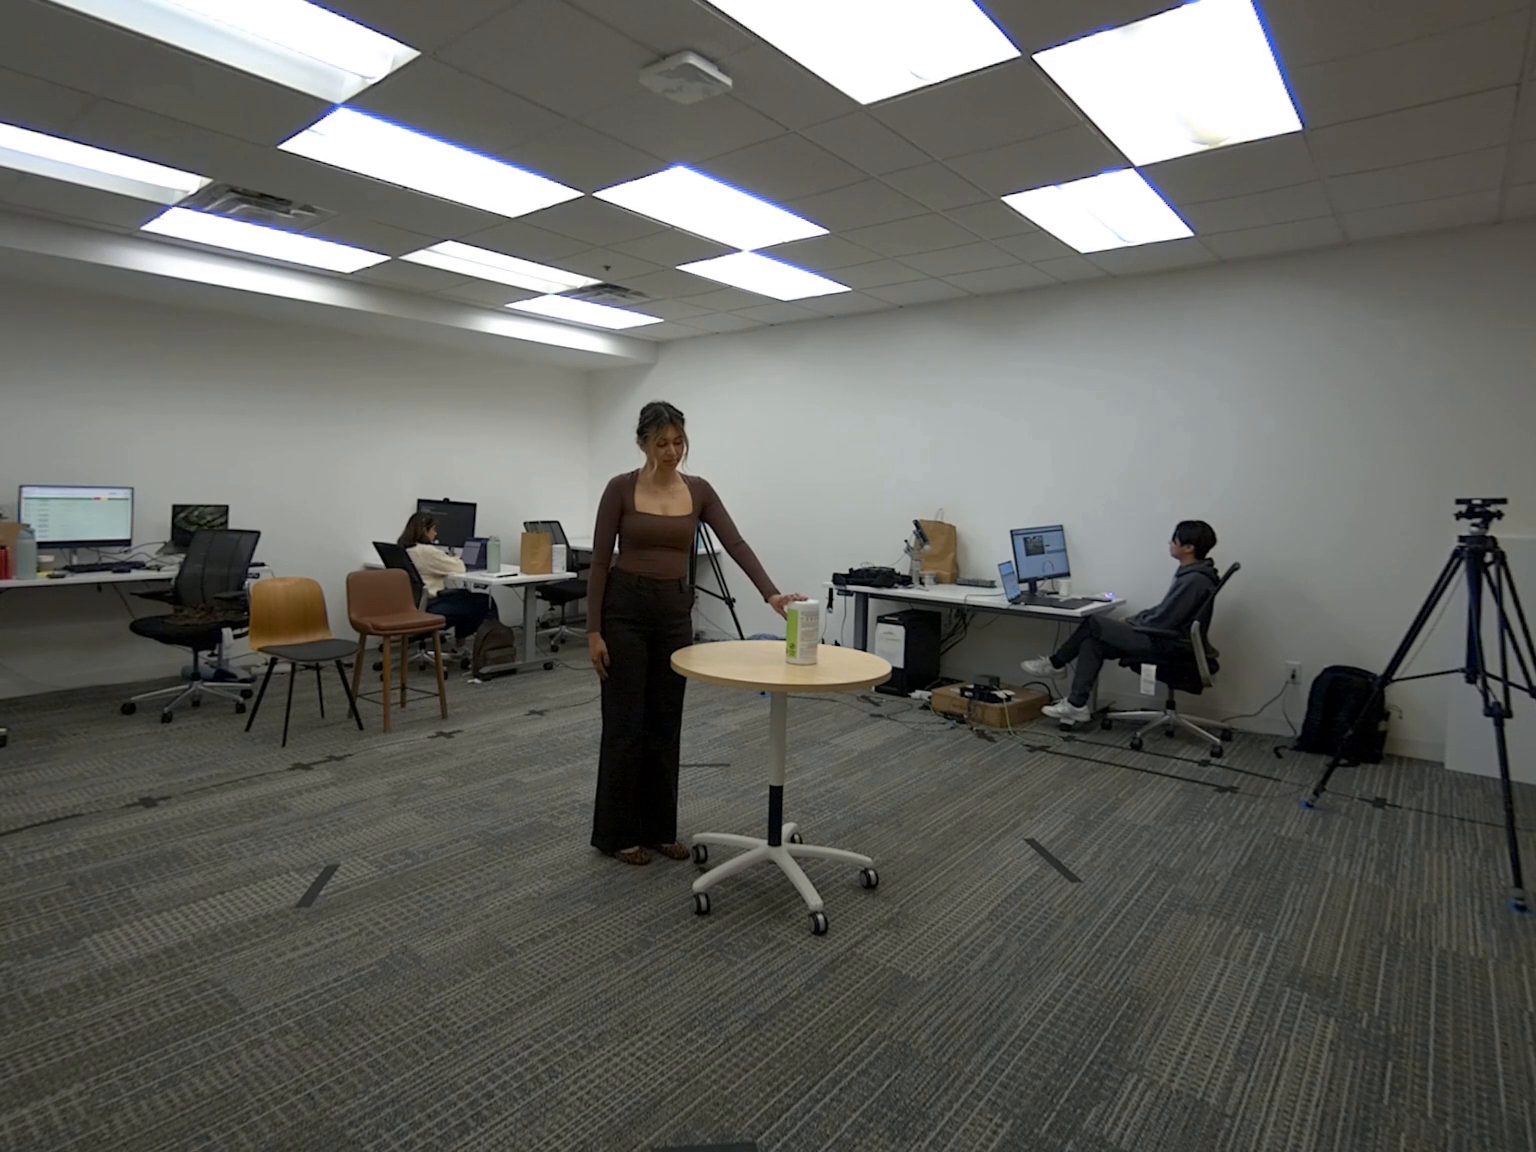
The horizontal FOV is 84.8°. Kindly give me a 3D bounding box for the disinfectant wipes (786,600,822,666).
[{"bbox_3d":[0.114,0.190,2.937,0.118,0.217,0.118,0,3,-2],"label":"disinfectant wipes"}]
